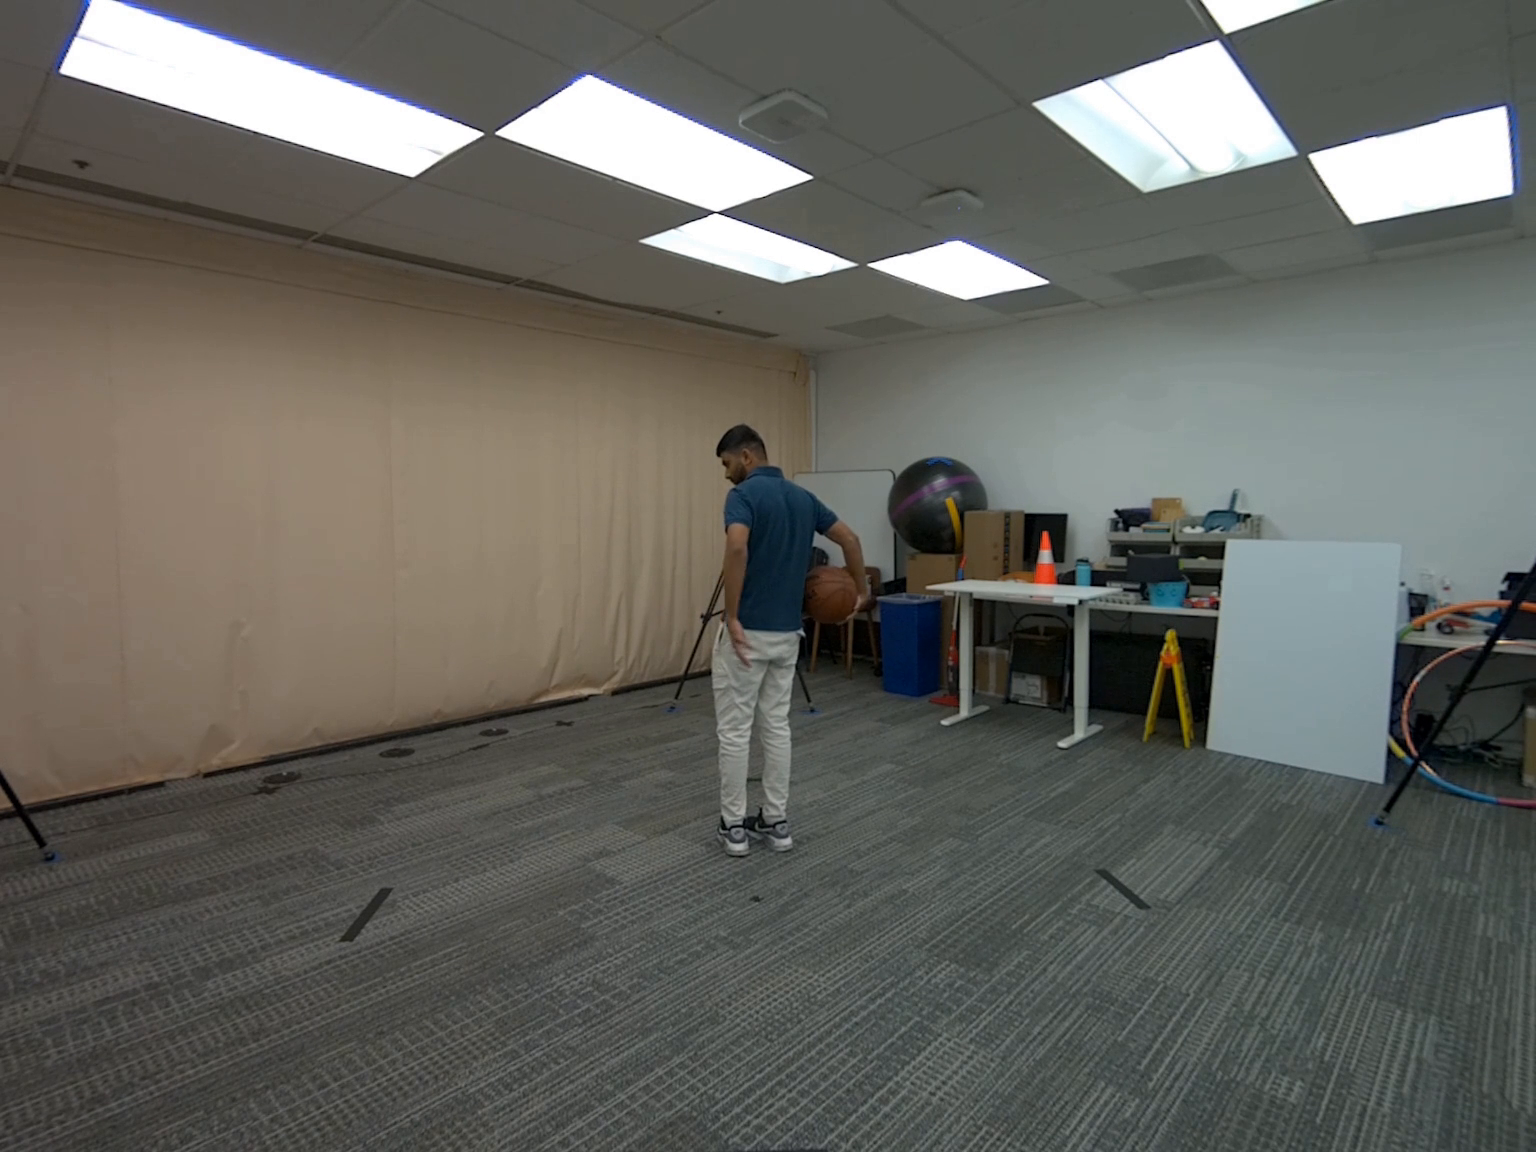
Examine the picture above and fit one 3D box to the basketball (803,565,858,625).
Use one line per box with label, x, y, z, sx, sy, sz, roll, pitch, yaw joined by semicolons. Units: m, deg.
basketball;0.244;0.075;3.452;0.236;0.235;0.237;0;4;-2
